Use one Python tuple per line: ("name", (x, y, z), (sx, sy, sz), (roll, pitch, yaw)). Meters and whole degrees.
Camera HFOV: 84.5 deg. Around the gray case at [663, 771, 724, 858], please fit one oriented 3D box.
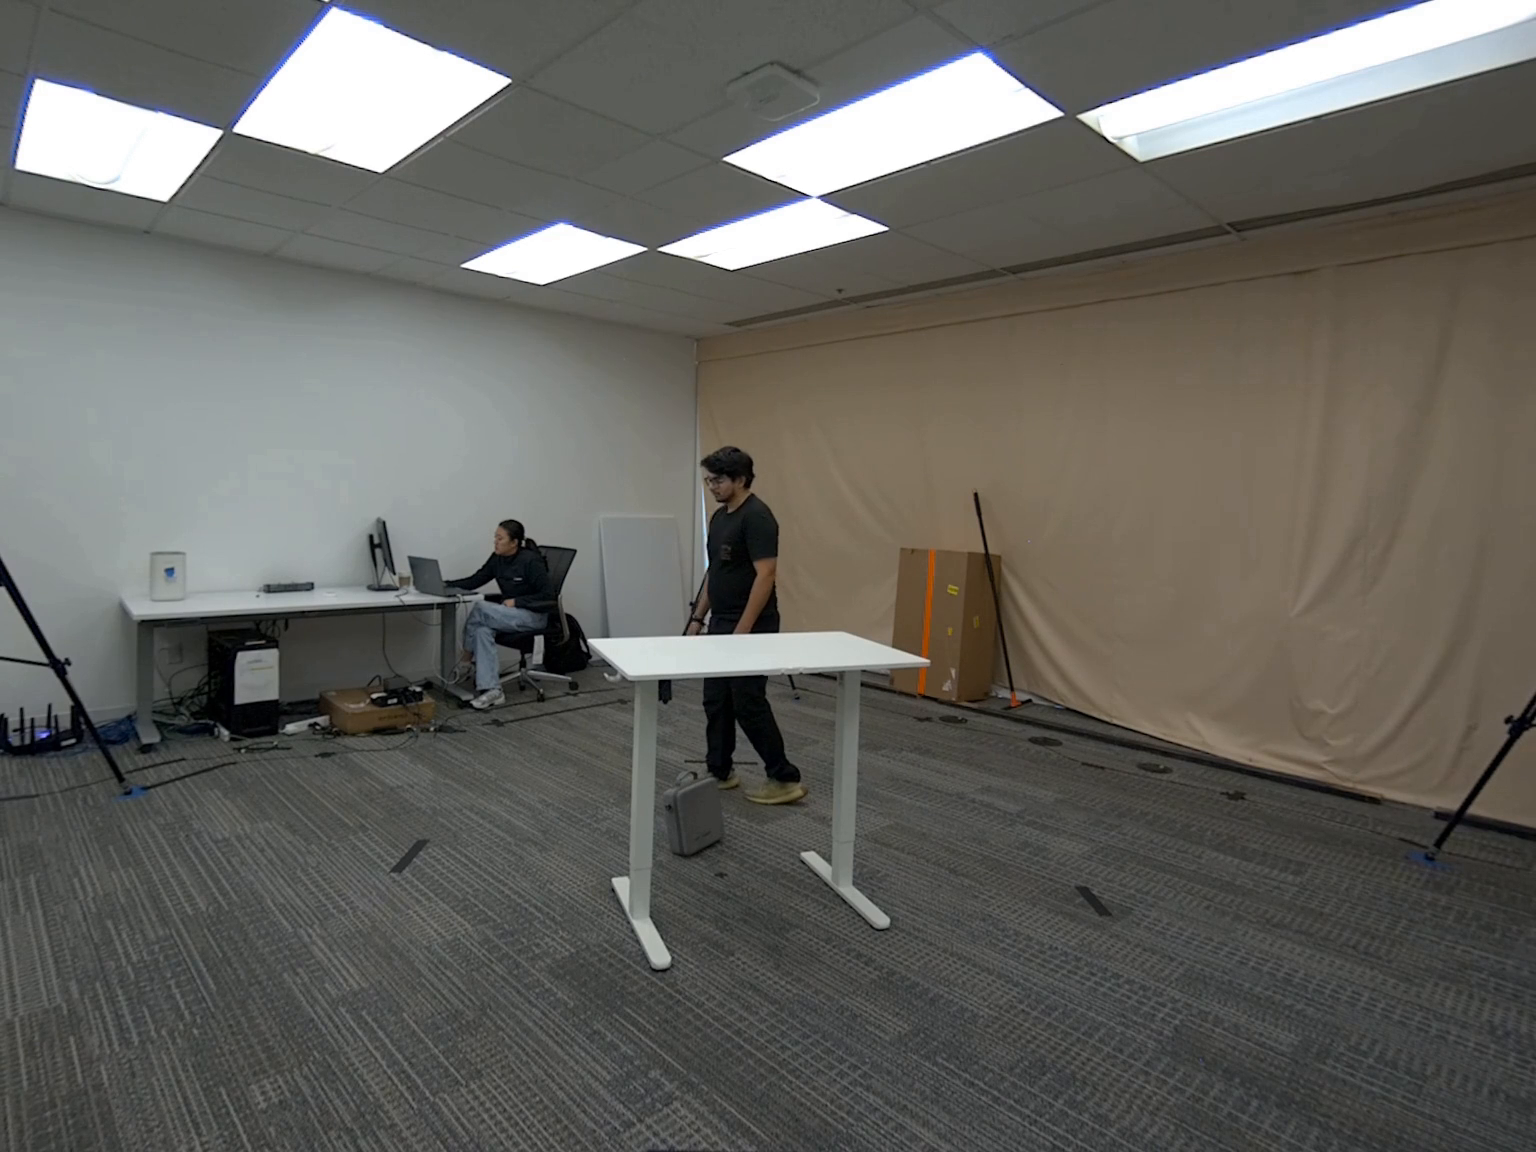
("gray case", (-0.308, 0.949, 3.350), (0.106, 0.261, 0.251), (-9, -3, 35))
